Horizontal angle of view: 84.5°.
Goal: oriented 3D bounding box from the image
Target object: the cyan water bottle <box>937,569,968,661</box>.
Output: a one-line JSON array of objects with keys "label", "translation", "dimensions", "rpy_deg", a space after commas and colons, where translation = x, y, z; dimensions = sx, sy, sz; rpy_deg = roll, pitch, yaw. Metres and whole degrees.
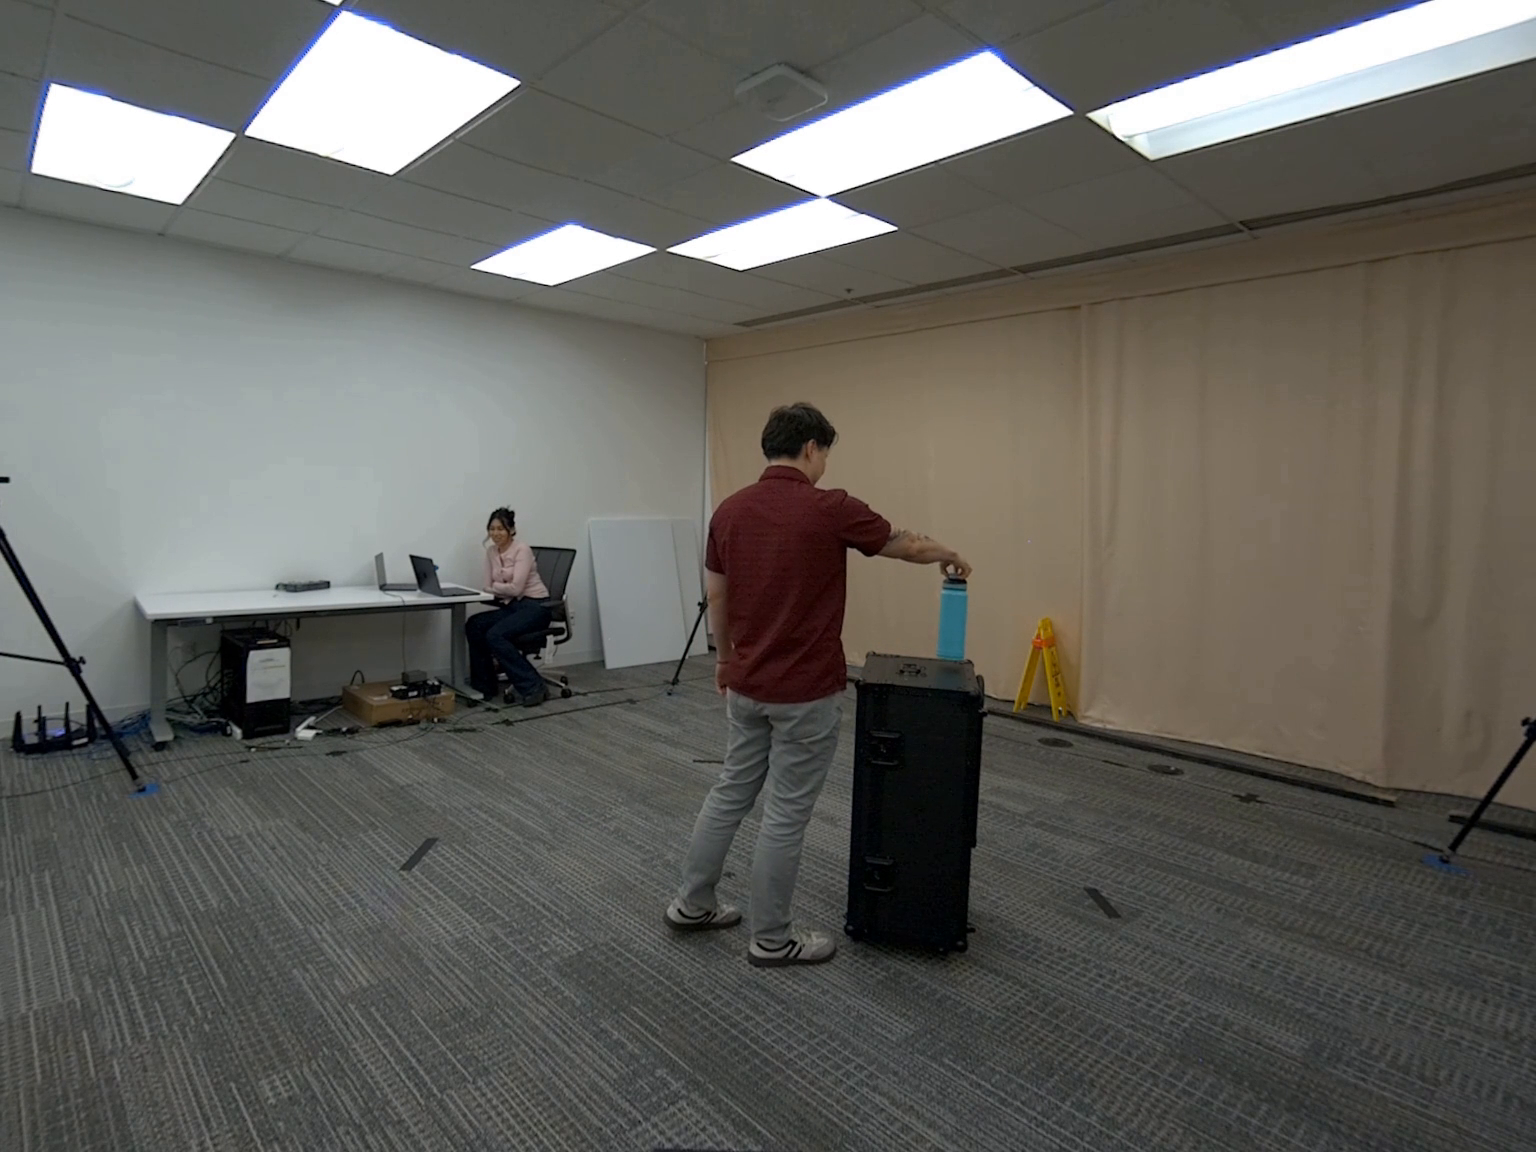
[{"label": "cyan water bottle", "translation": [0.612, 0.135, 2.792], "dimensions": [0.092, 0.284, 0.092], "rpy_deg": [5, -2, -1]}]
